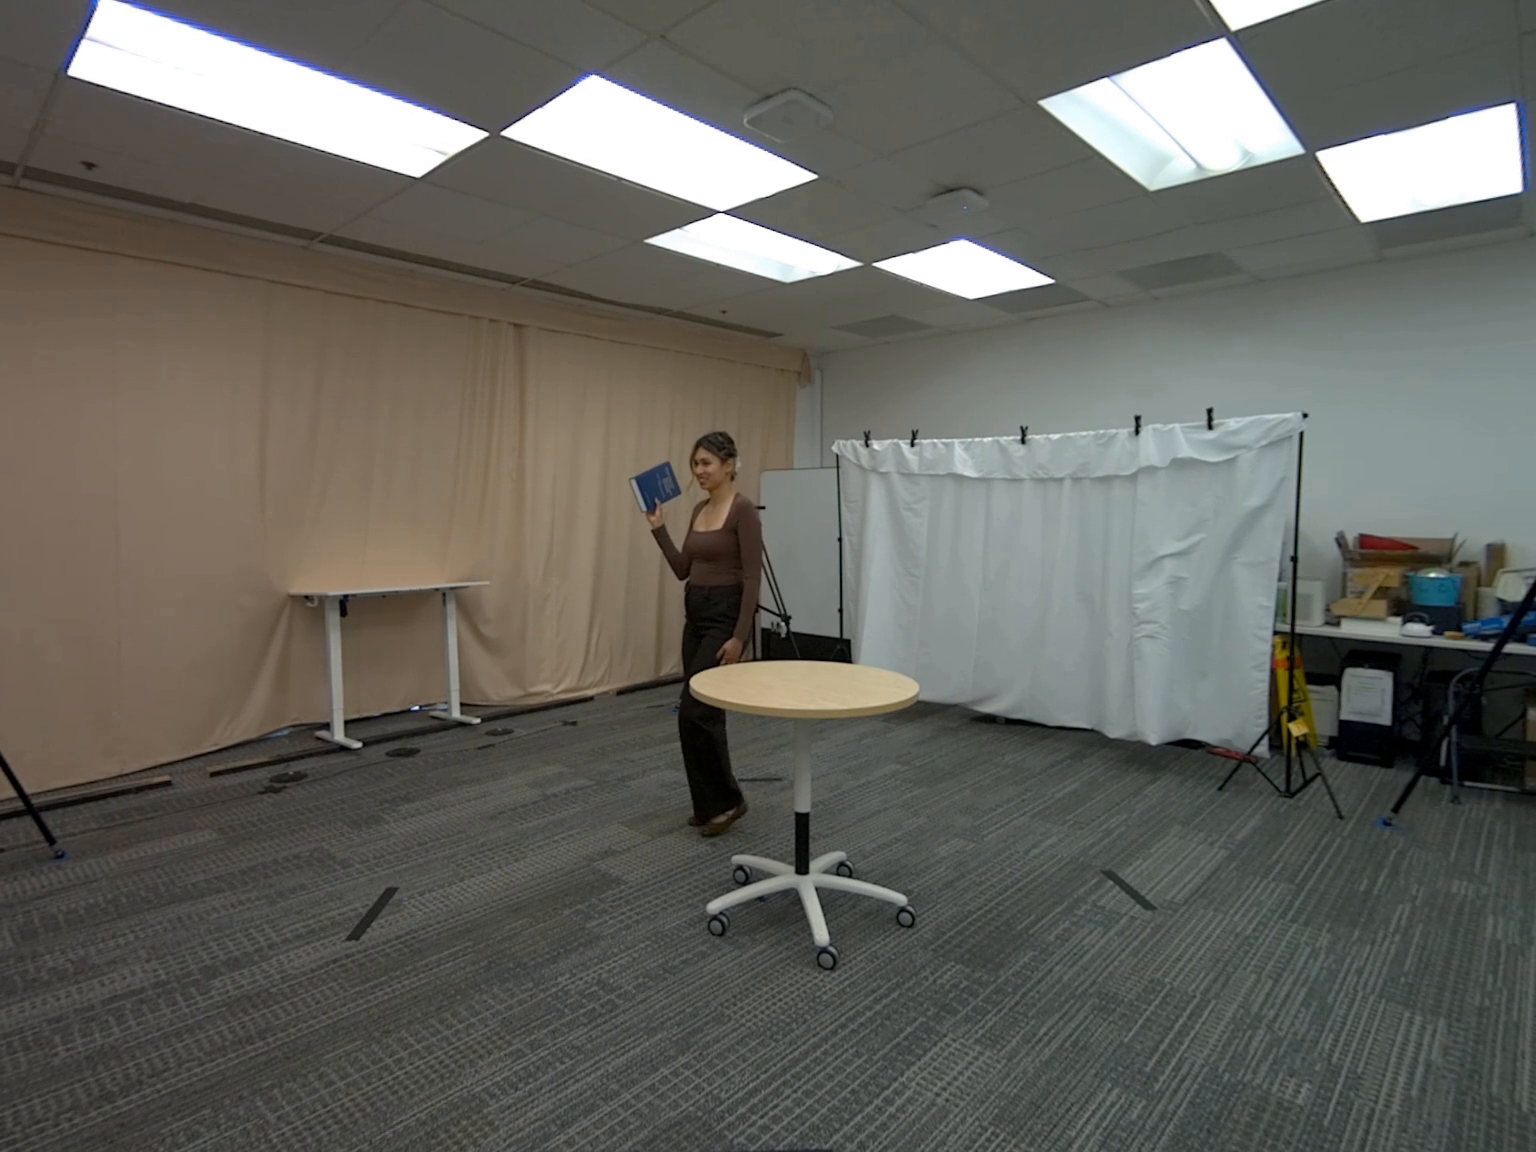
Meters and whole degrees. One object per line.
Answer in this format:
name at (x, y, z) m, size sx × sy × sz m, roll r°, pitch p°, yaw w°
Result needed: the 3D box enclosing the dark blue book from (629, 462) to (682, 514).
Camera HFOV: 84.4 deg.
dark blue book at (-0.504, -0.404, 3.806) m, size 0.046 × 0.161 × 0.241 m, roll -11°, pitch 17°, yaw 40°
